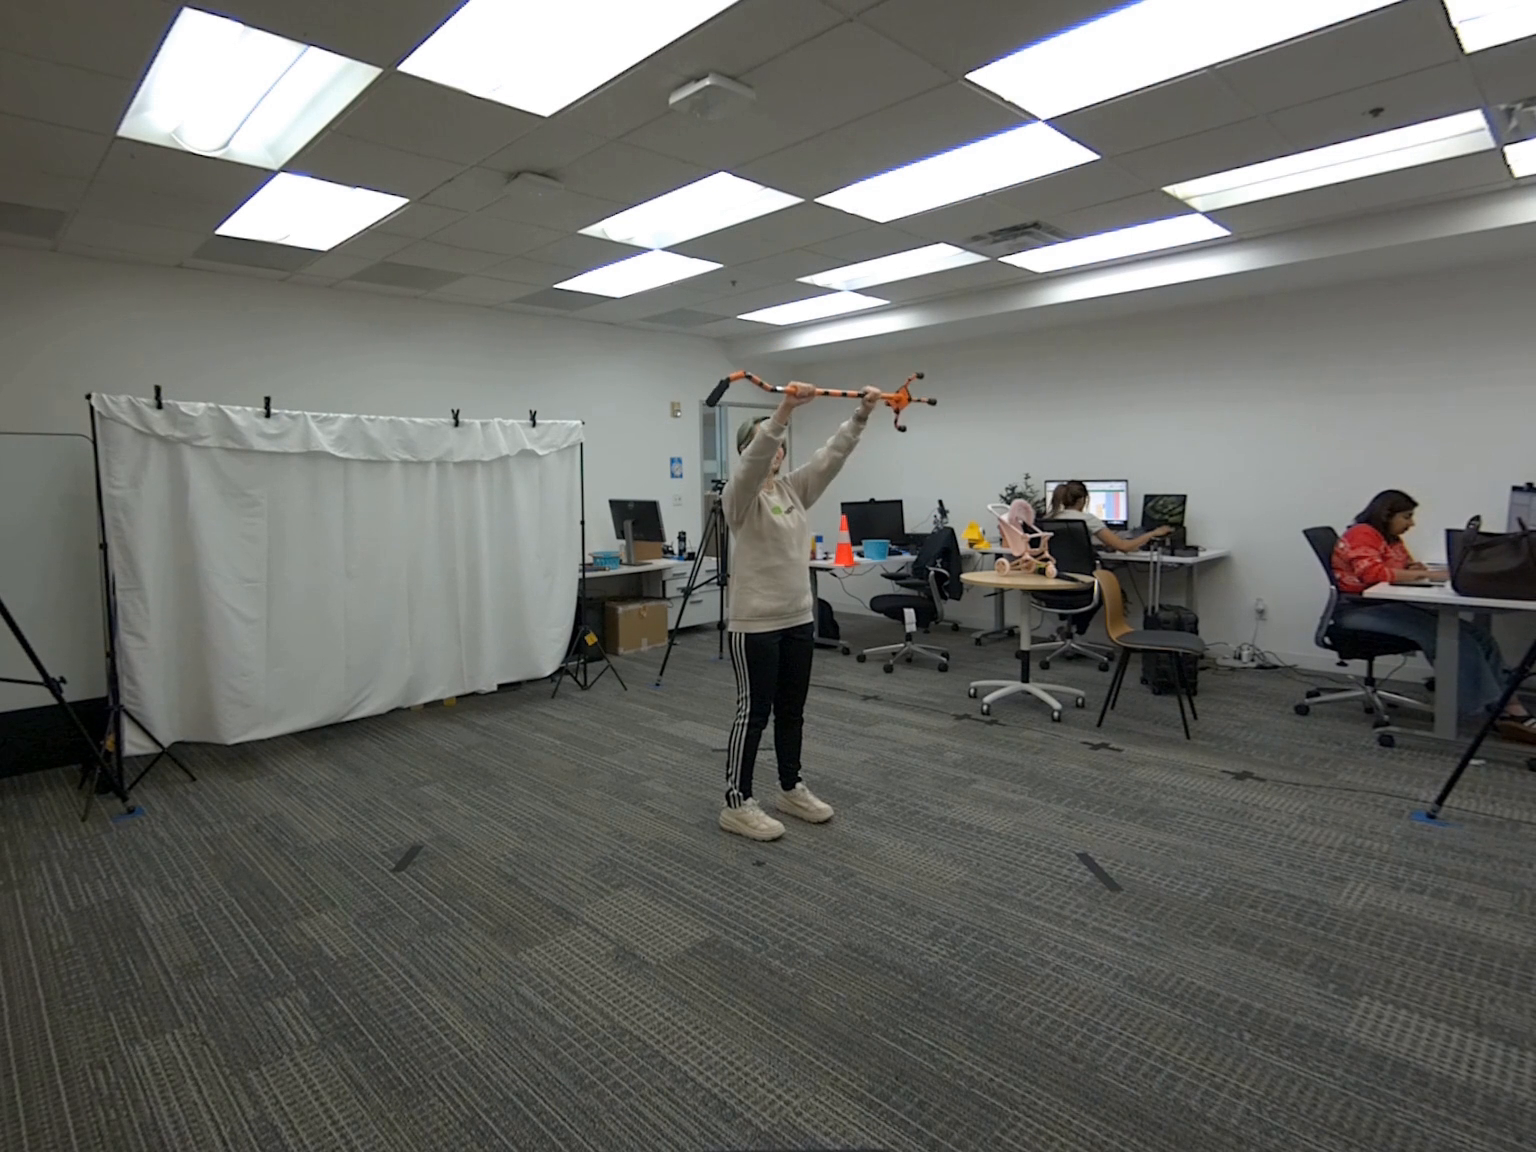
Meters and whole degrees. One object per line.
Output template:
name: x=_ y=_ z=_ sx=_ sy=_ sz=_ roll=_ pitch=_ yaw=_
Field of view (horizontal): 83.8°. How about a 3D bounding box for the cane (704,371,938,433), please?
cane: x=0.197 y=-0.637 z=3.043 sx=0.885 sy=0.155 sz=0.206 roll=-5 pitch=-26 yaw=-35
